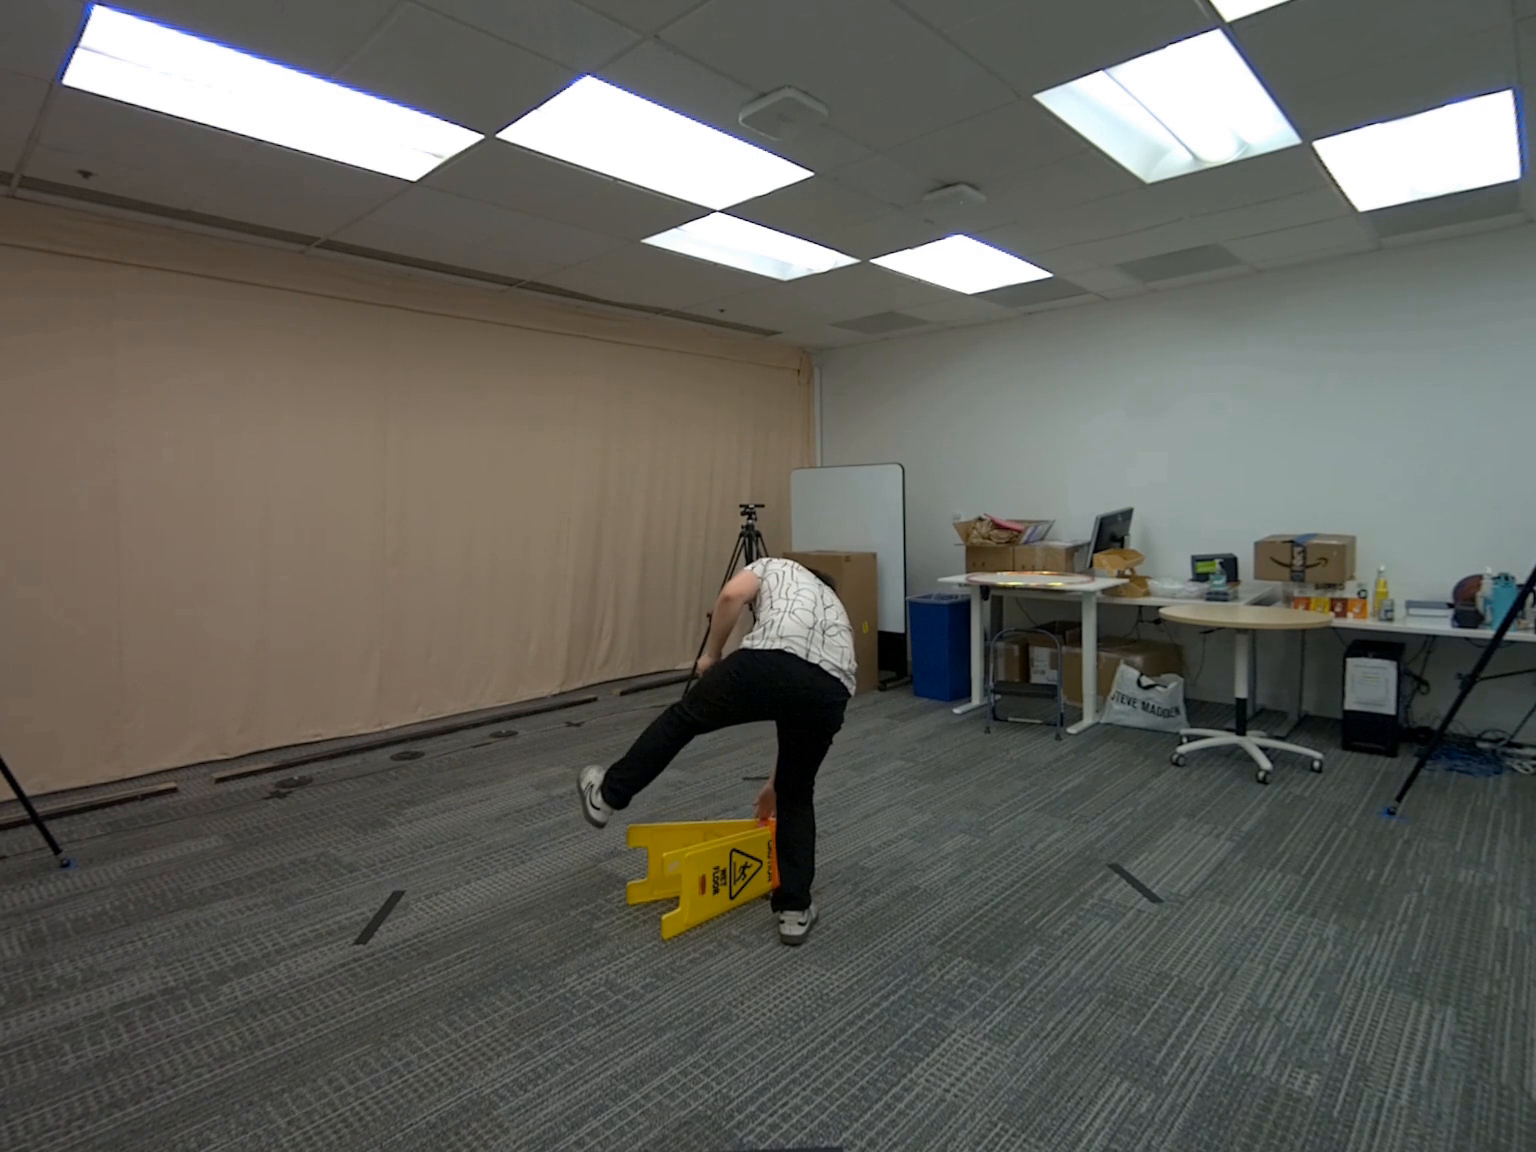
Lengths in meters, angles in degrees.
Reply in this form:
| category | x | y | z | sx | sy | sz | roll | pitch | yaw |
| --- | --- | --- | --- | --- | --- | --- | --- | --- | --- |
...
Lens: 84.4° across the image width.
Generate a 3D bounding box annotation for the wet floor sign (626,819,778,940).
| category | x | y | z | sx | sy | sz | roll | pitch | yaw |
| --- | --- | --- | --- | --- | --- | --- | --- | --- | --- |
| wet floor sign | -0.145 | 1.012 | 2.981 | 0.628 | 0.282 | 0.298 | -2 | 4 | -31 |
